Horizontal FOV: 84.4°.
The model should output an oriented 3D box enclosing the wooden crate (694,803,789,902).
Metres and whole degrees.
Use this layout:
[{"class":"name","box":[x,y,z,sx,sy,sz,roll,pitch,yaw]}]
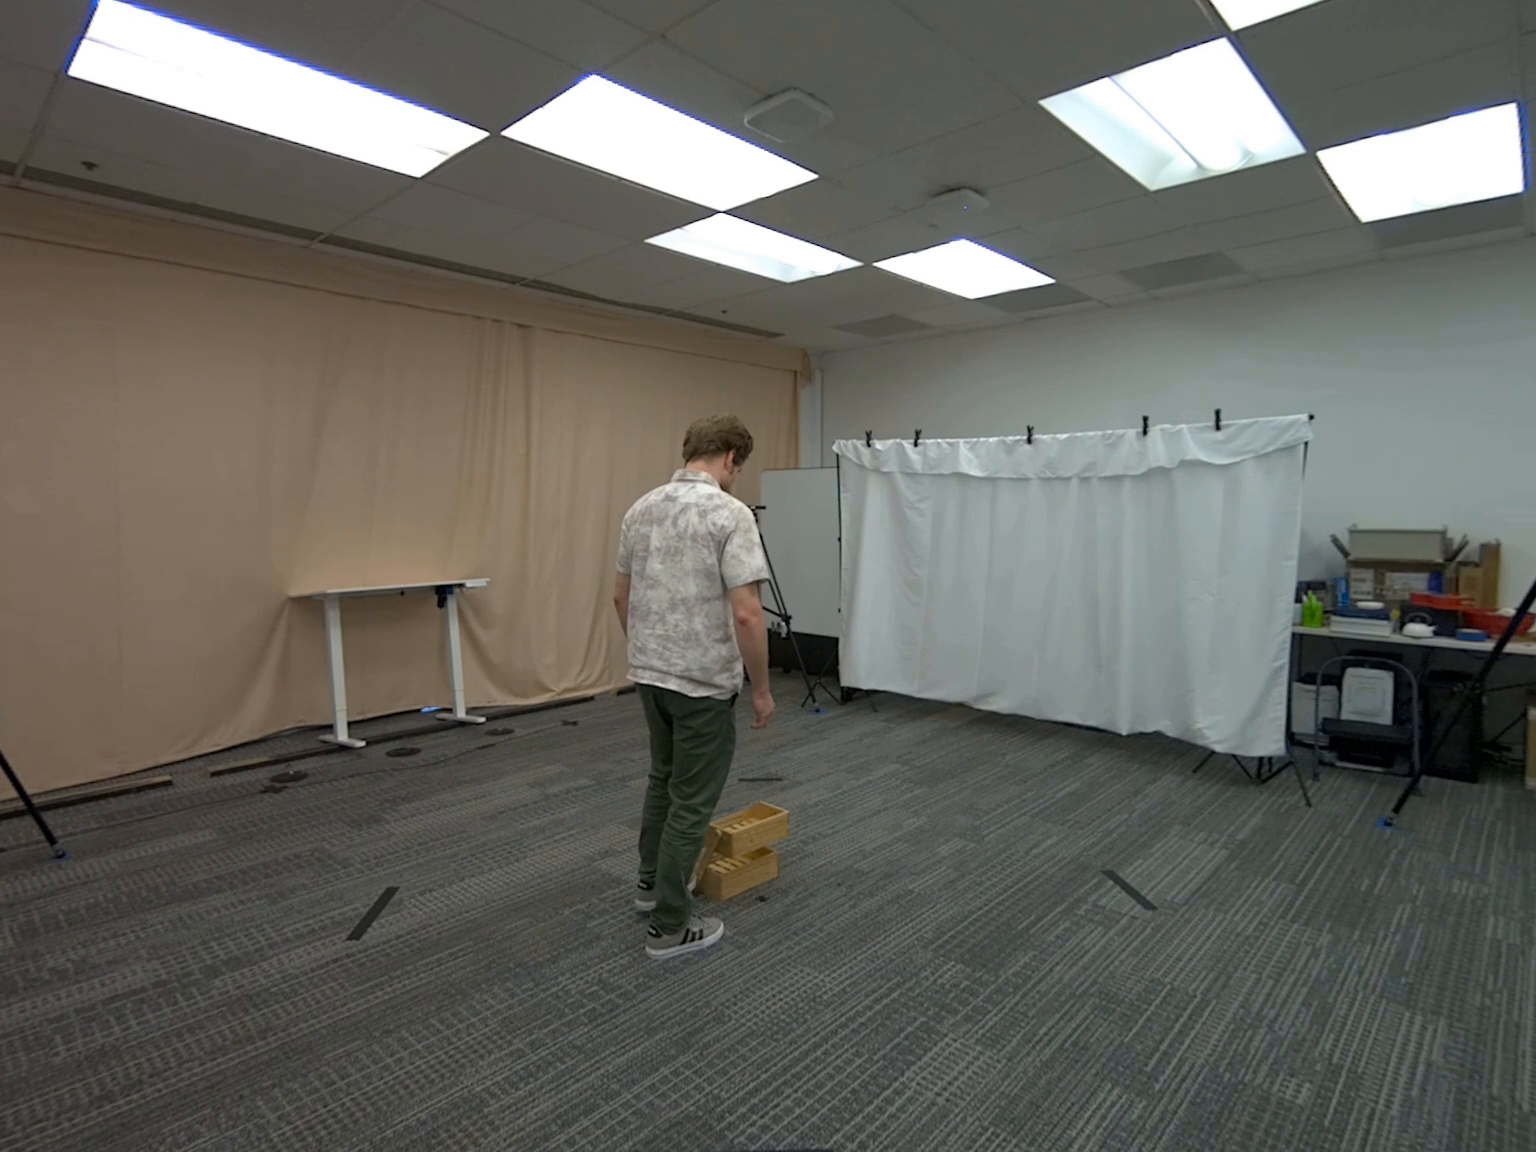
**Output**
[{"class":"wooden crate","box":[-0.129,0.998,3.130,0.314,0.272,0.312,-4,7,-45]}]
